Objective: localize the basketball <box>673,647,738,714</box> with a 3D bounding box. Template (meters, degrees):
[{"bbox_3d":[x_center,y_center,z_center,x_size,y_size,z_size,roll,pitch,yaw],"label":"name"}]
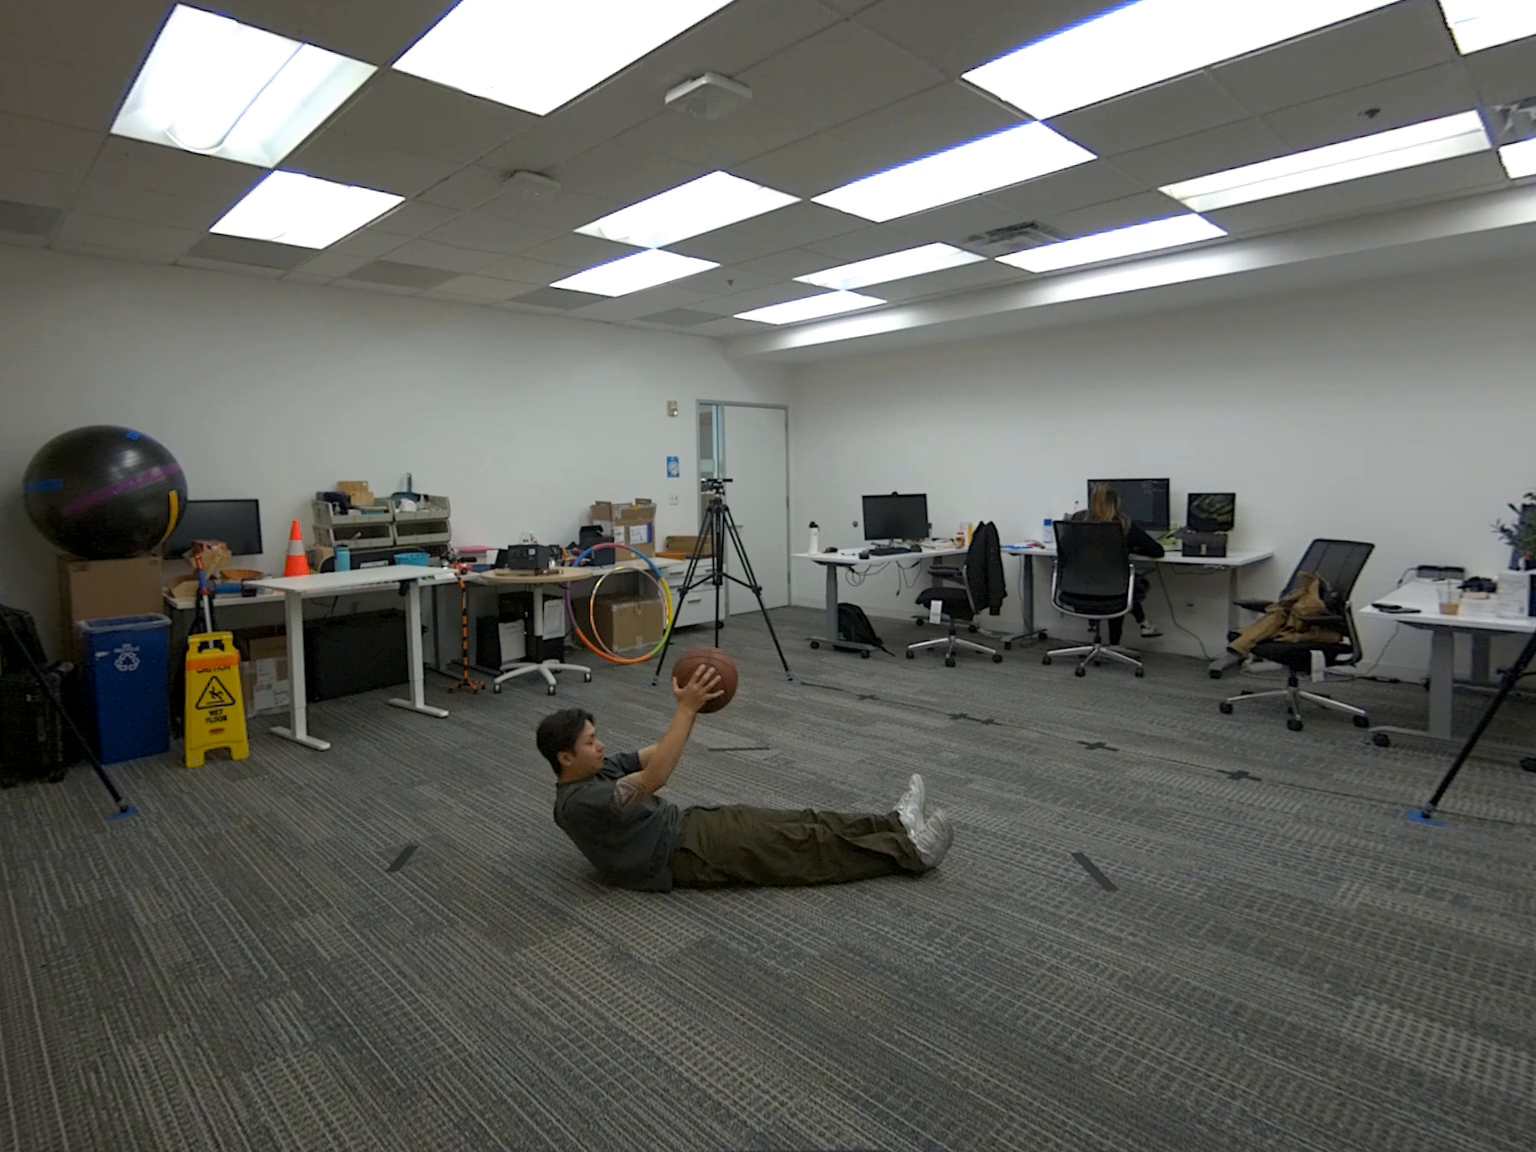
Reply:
[{"bbox_3d":[-0.236,0.374,3.039,0.236,0.235,0.237,-1,5,-2],"label":"basketball"}]
